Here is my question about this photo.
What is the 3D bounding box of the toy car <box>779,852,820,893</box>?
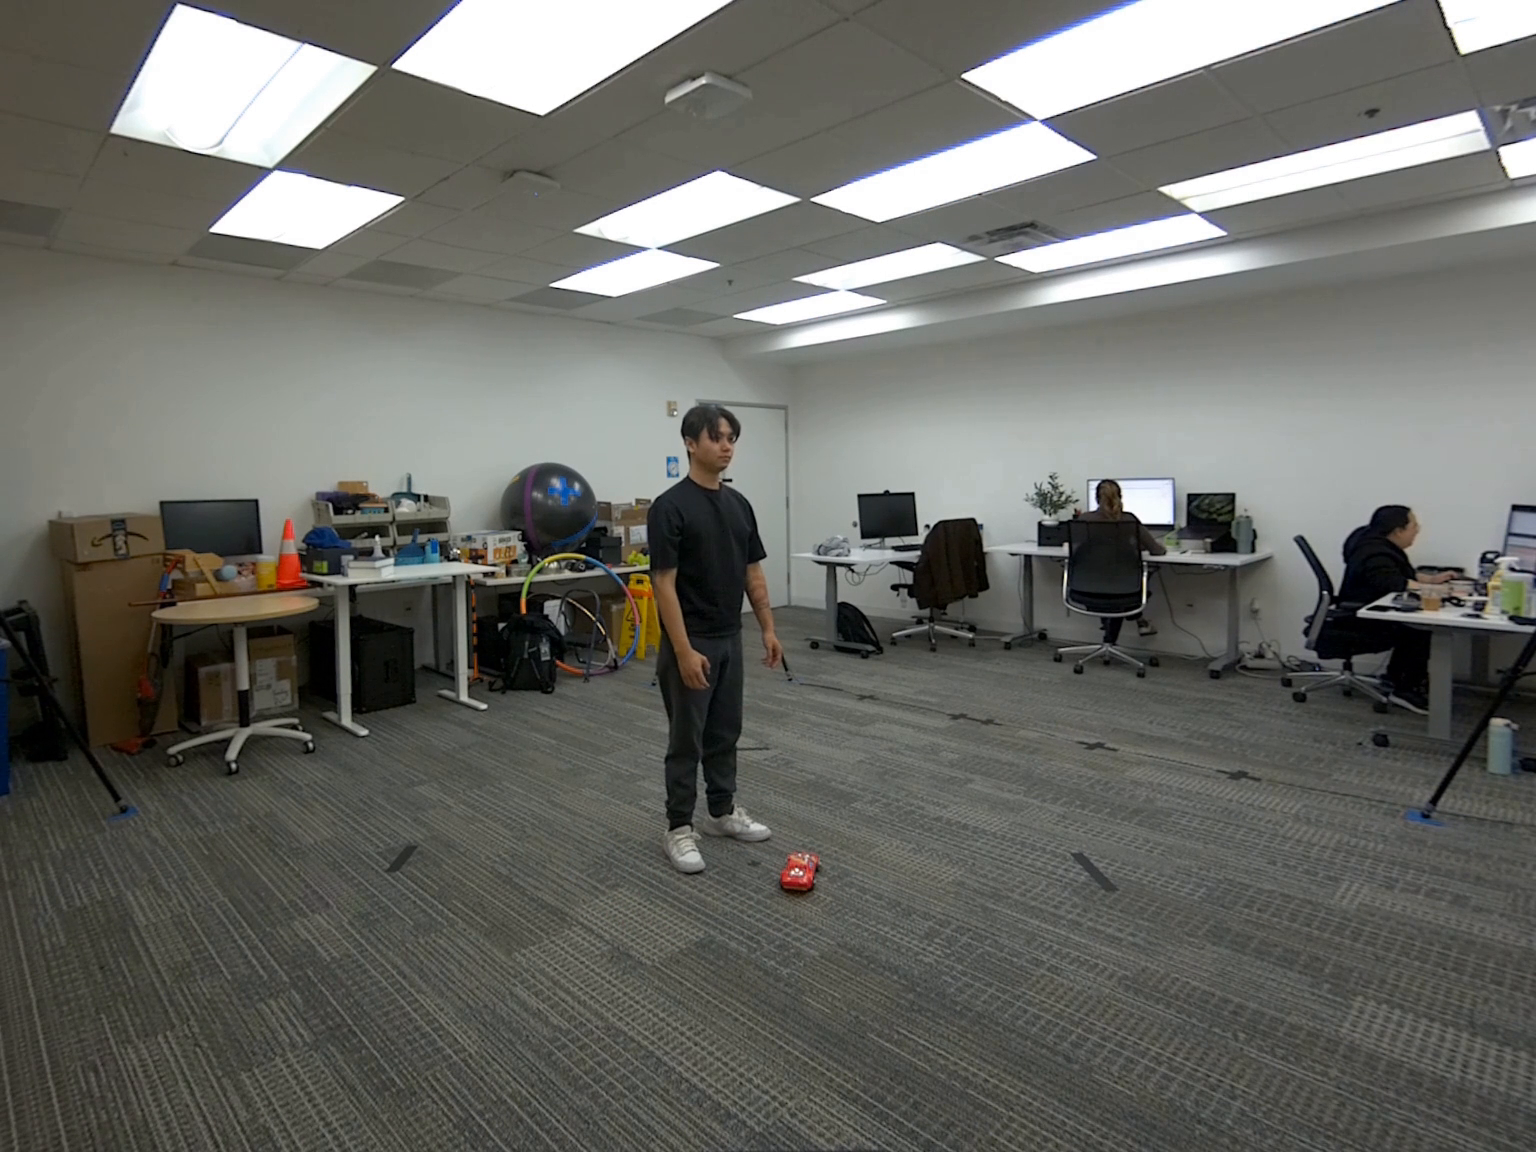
[{"bbox_3d":[0.111,1.027,2.961,0.132,0.083,0.250,0,-4,12],"label":"toy car"}]
